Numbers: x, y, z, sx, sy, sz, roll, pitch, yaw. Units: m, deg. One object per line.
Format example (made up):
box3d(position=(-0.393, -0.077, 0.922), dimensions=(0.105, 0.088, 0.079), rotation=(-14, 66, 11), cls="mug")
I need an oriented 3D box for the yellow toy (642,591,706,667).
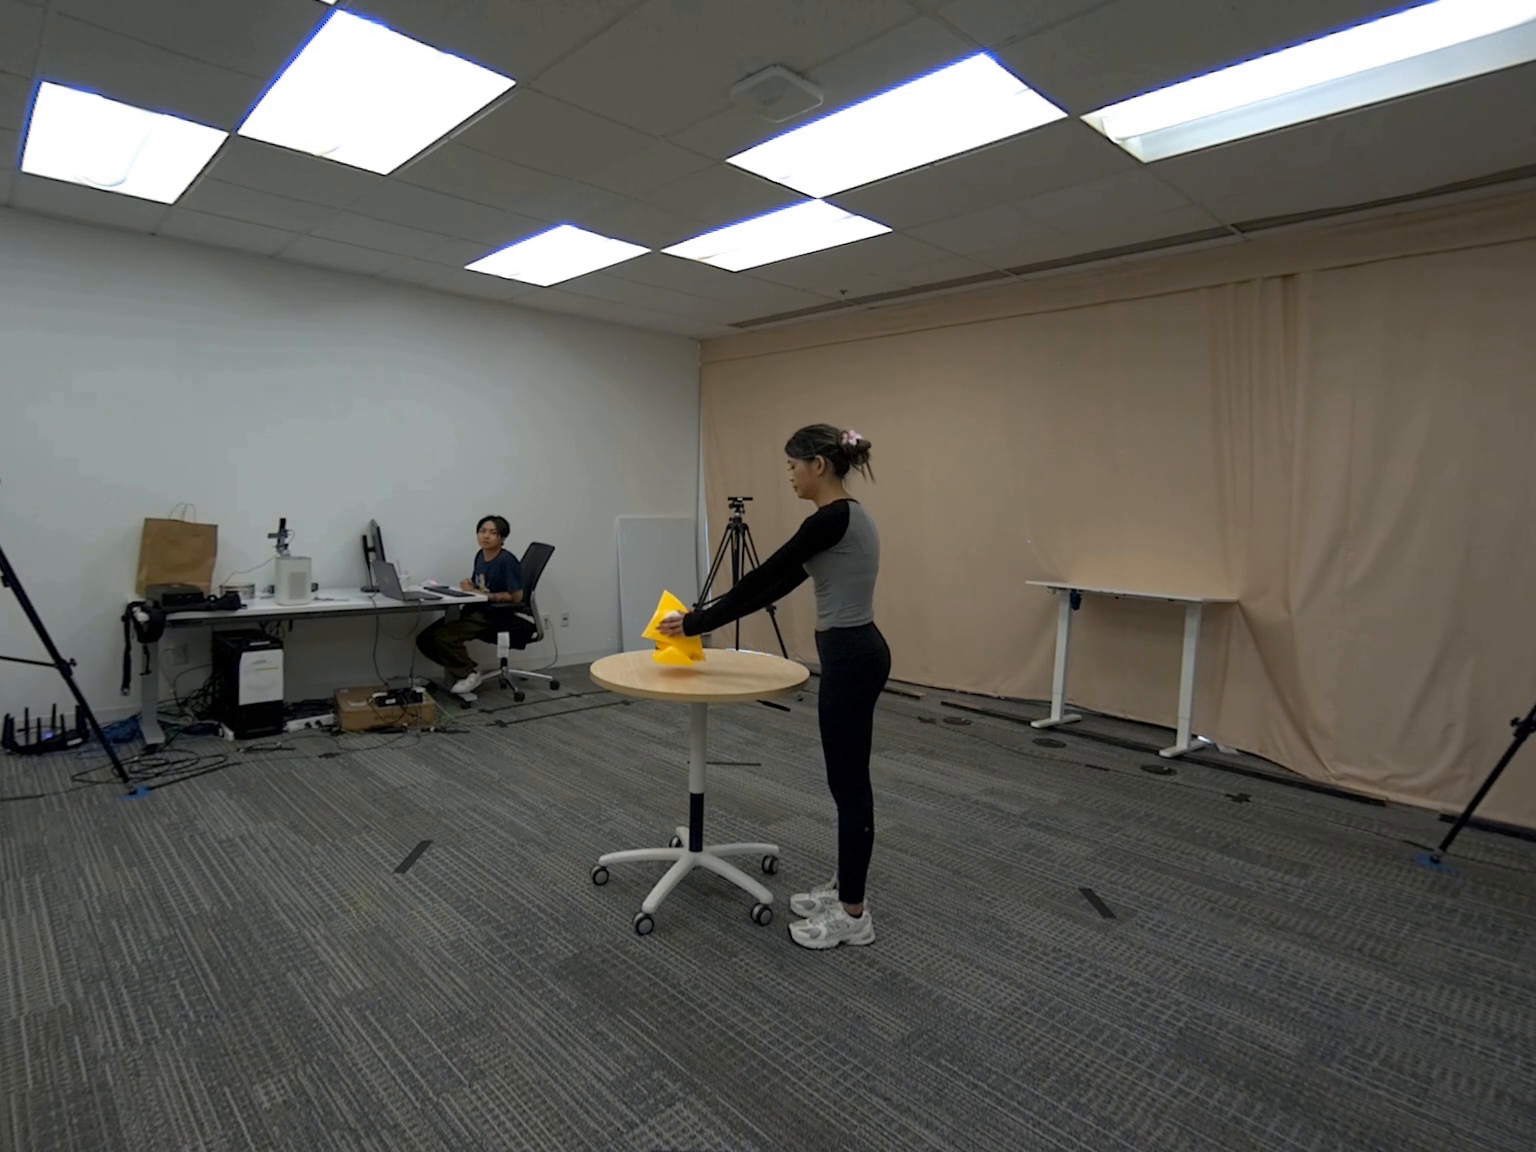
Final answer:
box3d(position=(-0.307, 0.172, 2.865), dimensions=(0.196, 0.230, 0.202), rotation=(5, 4, 16), cls="yellow toy")
